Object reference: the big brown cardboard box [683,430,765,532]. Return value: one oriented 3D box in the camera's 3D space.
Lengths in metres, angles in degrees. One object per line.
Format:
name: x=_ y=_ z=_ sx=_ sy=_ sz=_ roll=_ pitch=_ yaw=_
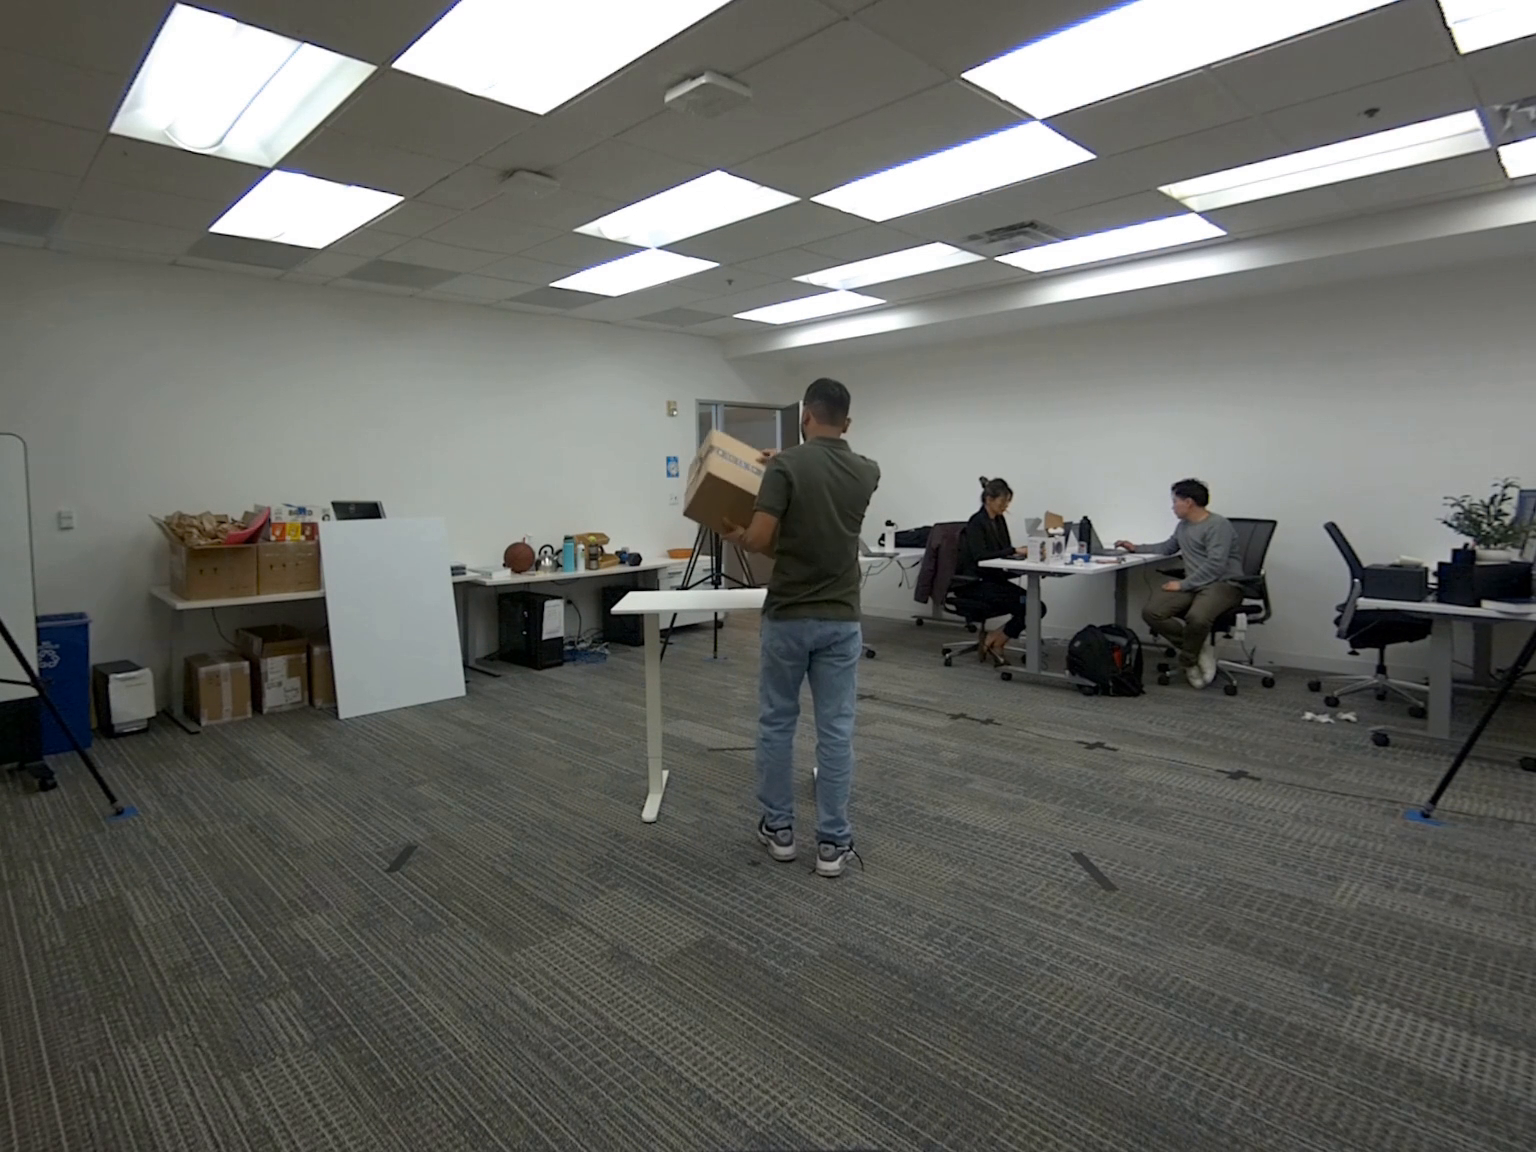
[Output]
big brown cardboard box: x=-0.029 y=-0.297 z=3.411 sx=0.580 sy=0.232 sz=0.426 roll=26 pitch=27 yaw=-13
